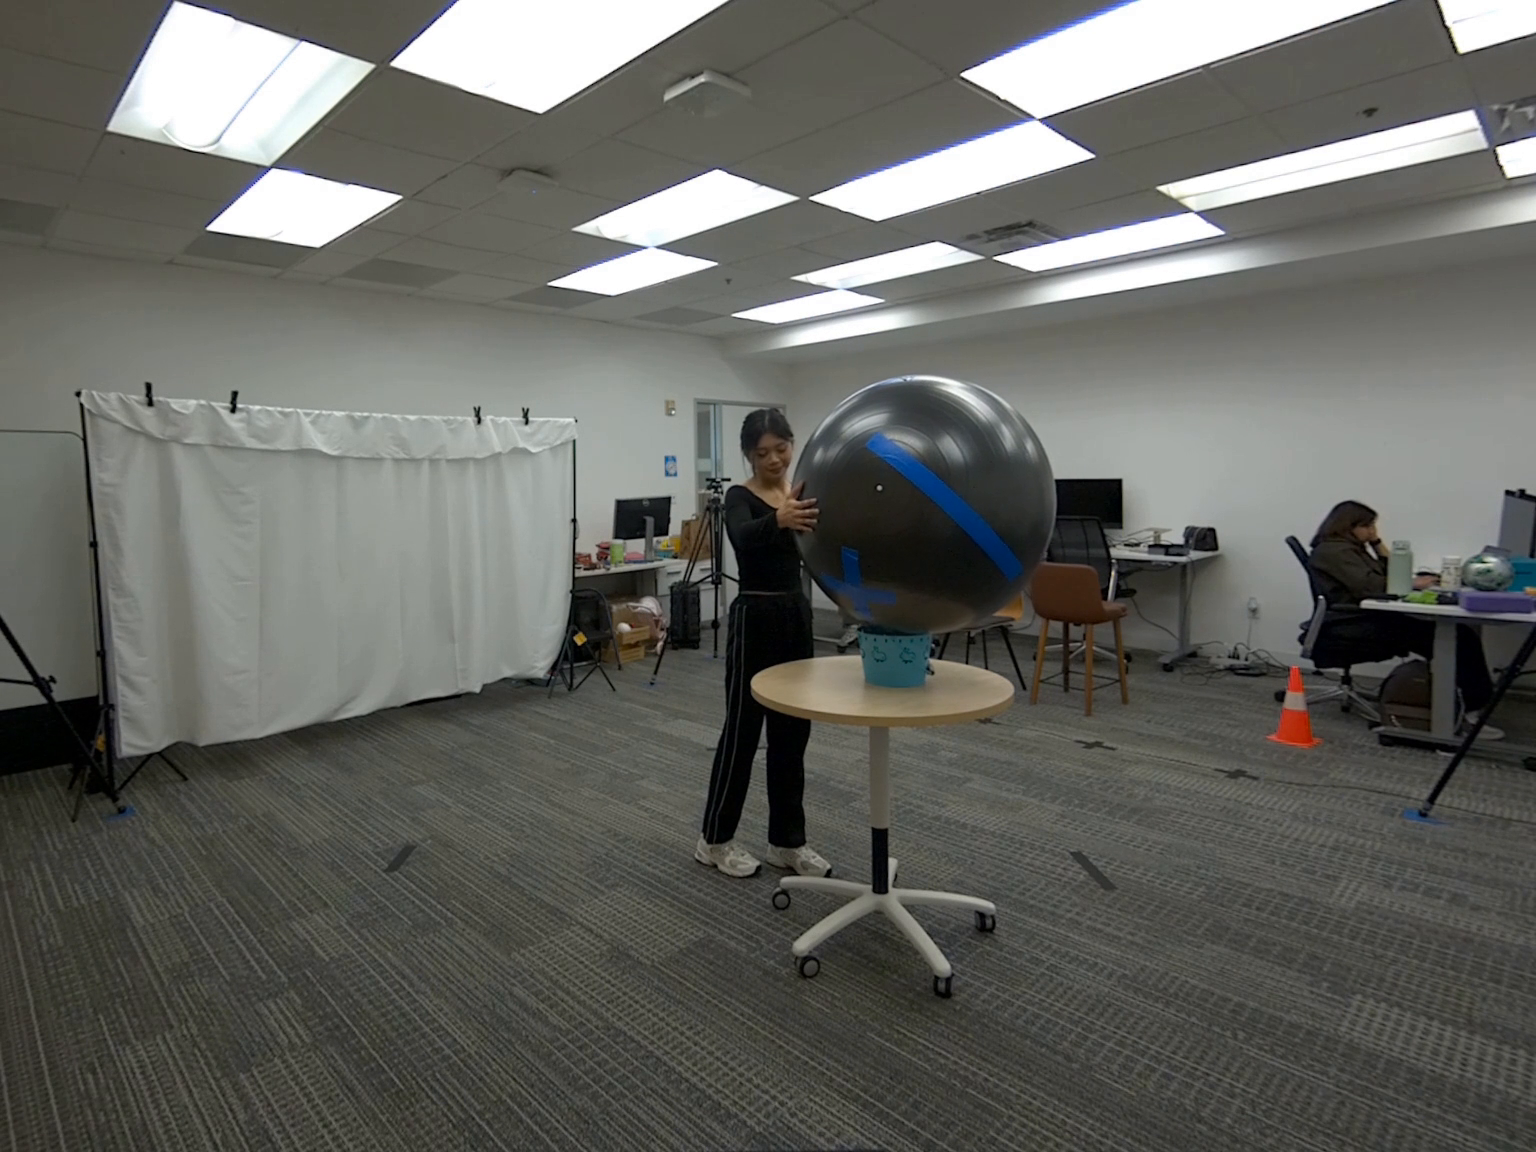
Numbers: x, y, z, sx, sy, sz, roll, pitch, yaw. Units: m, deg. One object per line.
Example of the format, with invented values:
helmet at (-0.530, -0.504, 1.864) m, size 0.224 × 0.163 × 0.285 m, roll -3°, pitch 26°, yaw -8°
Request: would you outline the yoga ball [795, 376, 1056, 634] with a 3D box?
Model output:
yoga ball at (0.451, -0.202, 2.505) m, size 0.757 × 0.755 × 0.762 m, roll -1°, pitch 5°, yaw -2°
